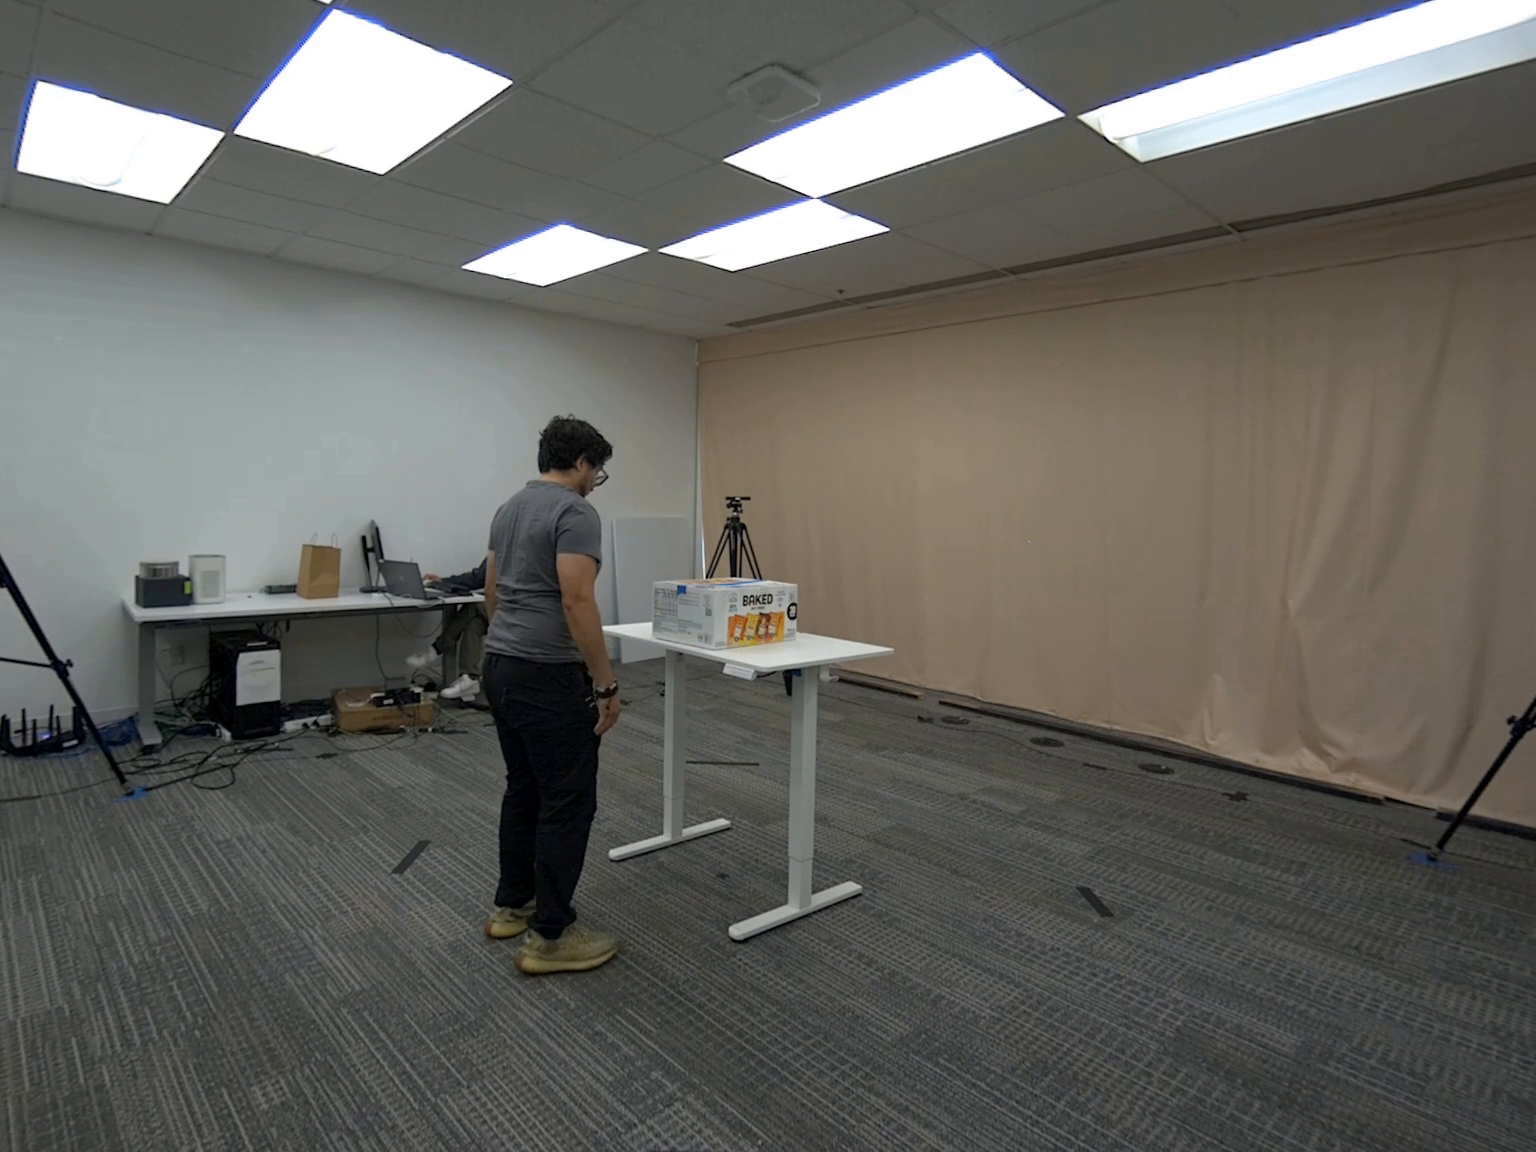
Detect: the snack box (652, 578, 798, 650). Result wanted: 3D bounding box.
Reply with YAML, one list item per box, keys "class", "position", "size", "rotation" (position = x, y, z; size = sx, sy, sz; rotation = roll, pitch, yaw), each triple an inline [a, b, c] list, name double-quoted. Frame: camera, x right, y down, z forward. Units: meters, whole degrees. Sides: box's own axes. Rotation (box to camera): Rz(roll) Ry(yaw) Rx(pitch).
- class: "snack box"
  position: [-0.161, 0.128, 3.030]
  size: [0.396, 0.205, 0.349]
  rotation: [-3, 5, -44]
